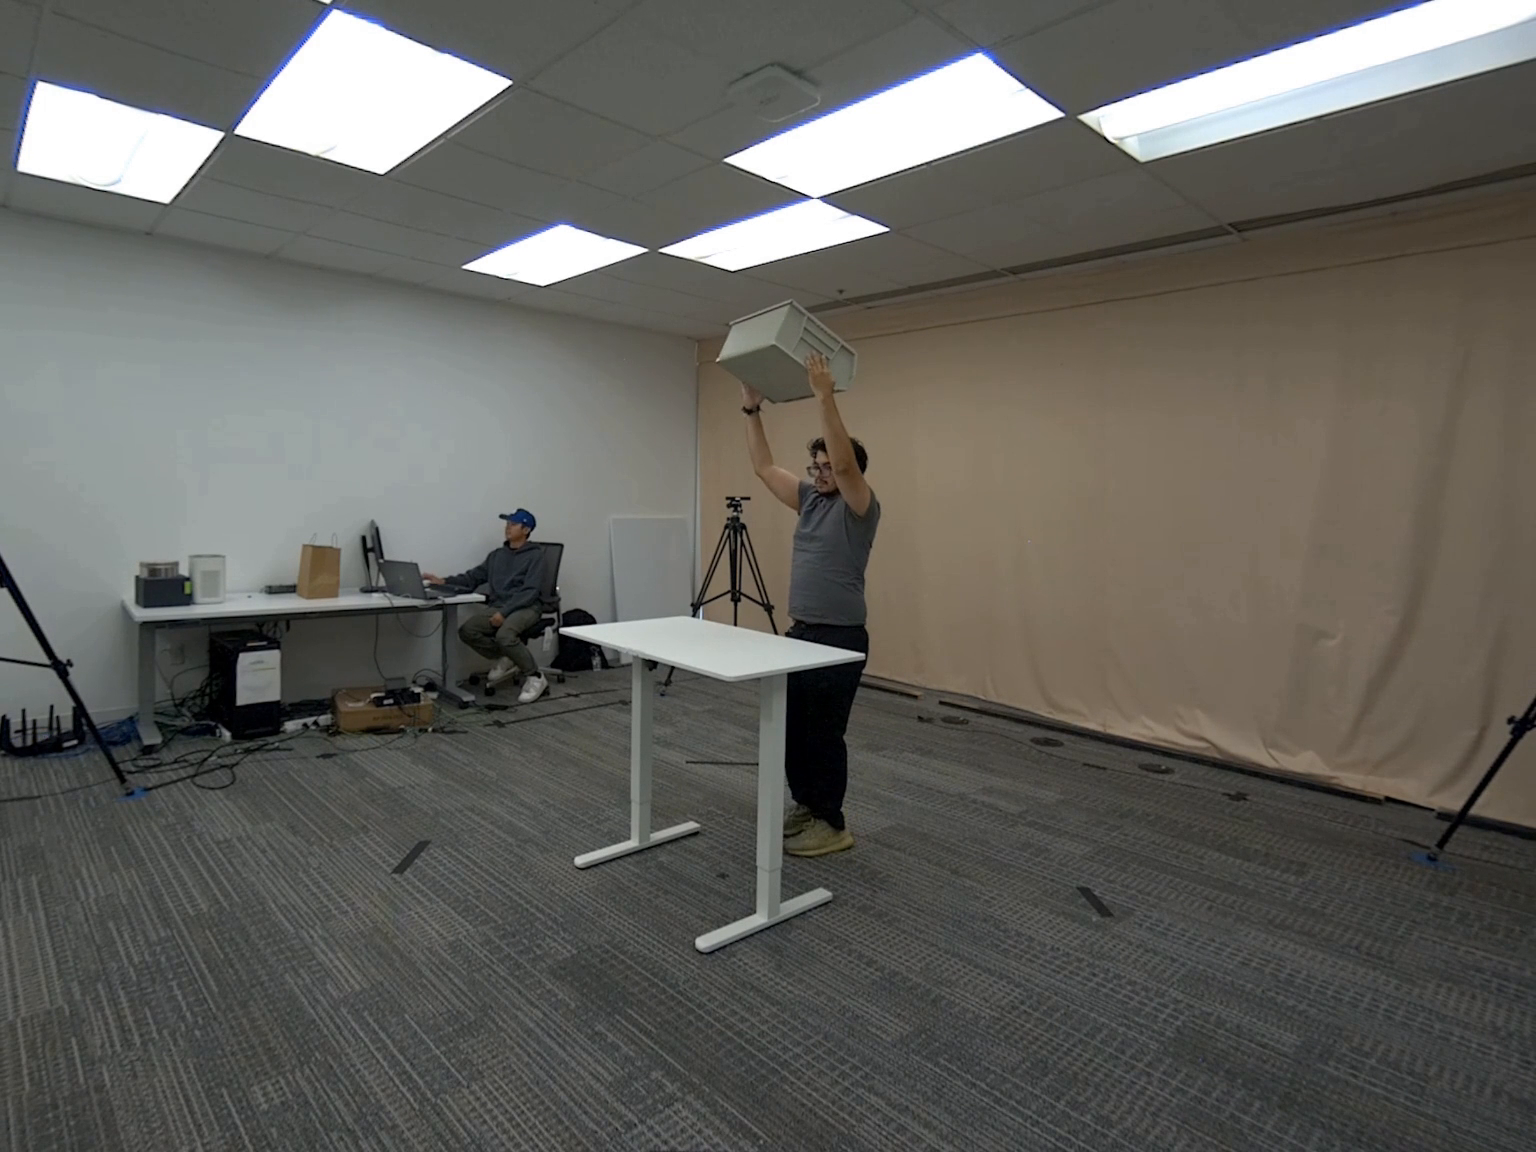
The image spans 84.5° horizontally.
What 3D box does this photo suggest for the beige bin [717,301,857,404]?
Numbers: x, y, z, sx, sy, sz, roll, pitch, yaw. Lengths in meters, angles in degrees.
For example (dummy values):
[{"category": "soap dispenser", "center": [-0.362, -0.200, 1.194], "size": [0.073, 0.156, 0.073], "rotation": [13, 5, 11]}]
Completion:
[{"category": "beige bin", "center": [0.058, -0.824, 3.224], "size": [0.367, 0.190, 0.432], "rotation": [30, -12, -31]}]
